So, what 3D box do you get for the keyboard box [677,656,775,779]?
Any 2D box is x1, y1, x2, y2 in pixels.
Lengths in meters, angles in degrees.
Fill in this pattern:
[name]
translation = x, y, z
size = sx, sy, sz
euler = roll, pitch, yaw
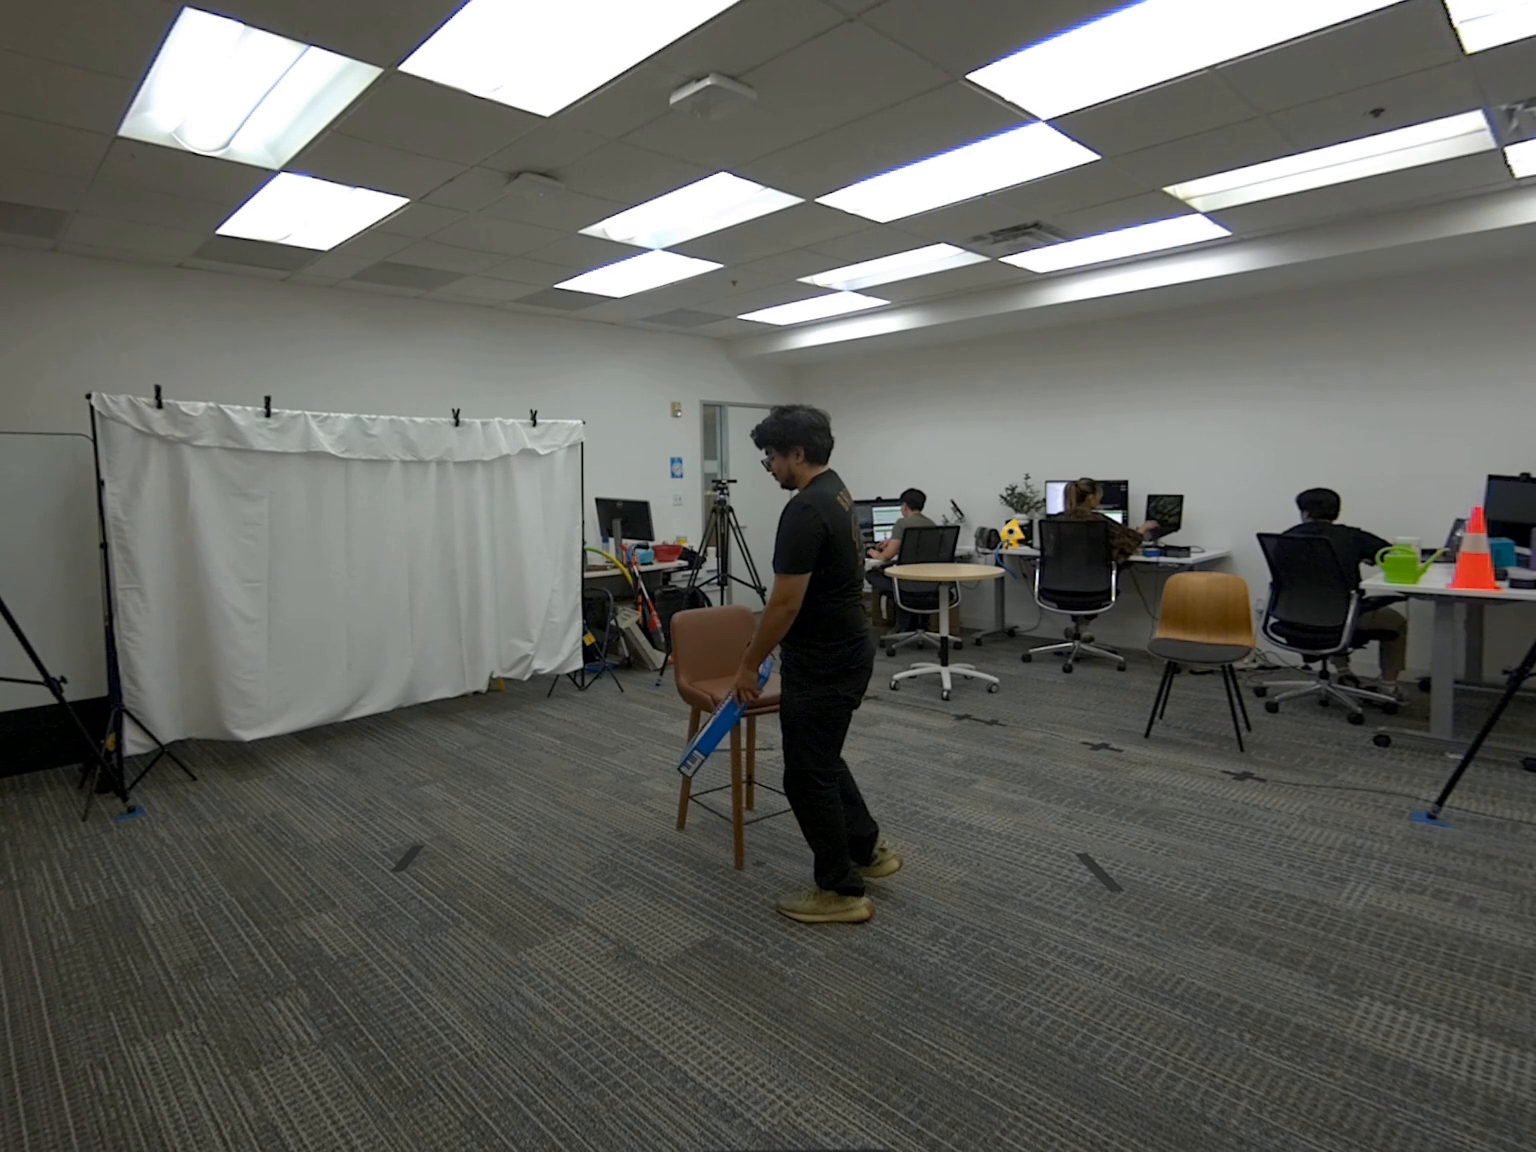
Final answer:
[keyboard box]
translation = -0.138, 0.463, 2.796
size = 0.059, 0.435, 0.176
euler = 35, 15, -2
